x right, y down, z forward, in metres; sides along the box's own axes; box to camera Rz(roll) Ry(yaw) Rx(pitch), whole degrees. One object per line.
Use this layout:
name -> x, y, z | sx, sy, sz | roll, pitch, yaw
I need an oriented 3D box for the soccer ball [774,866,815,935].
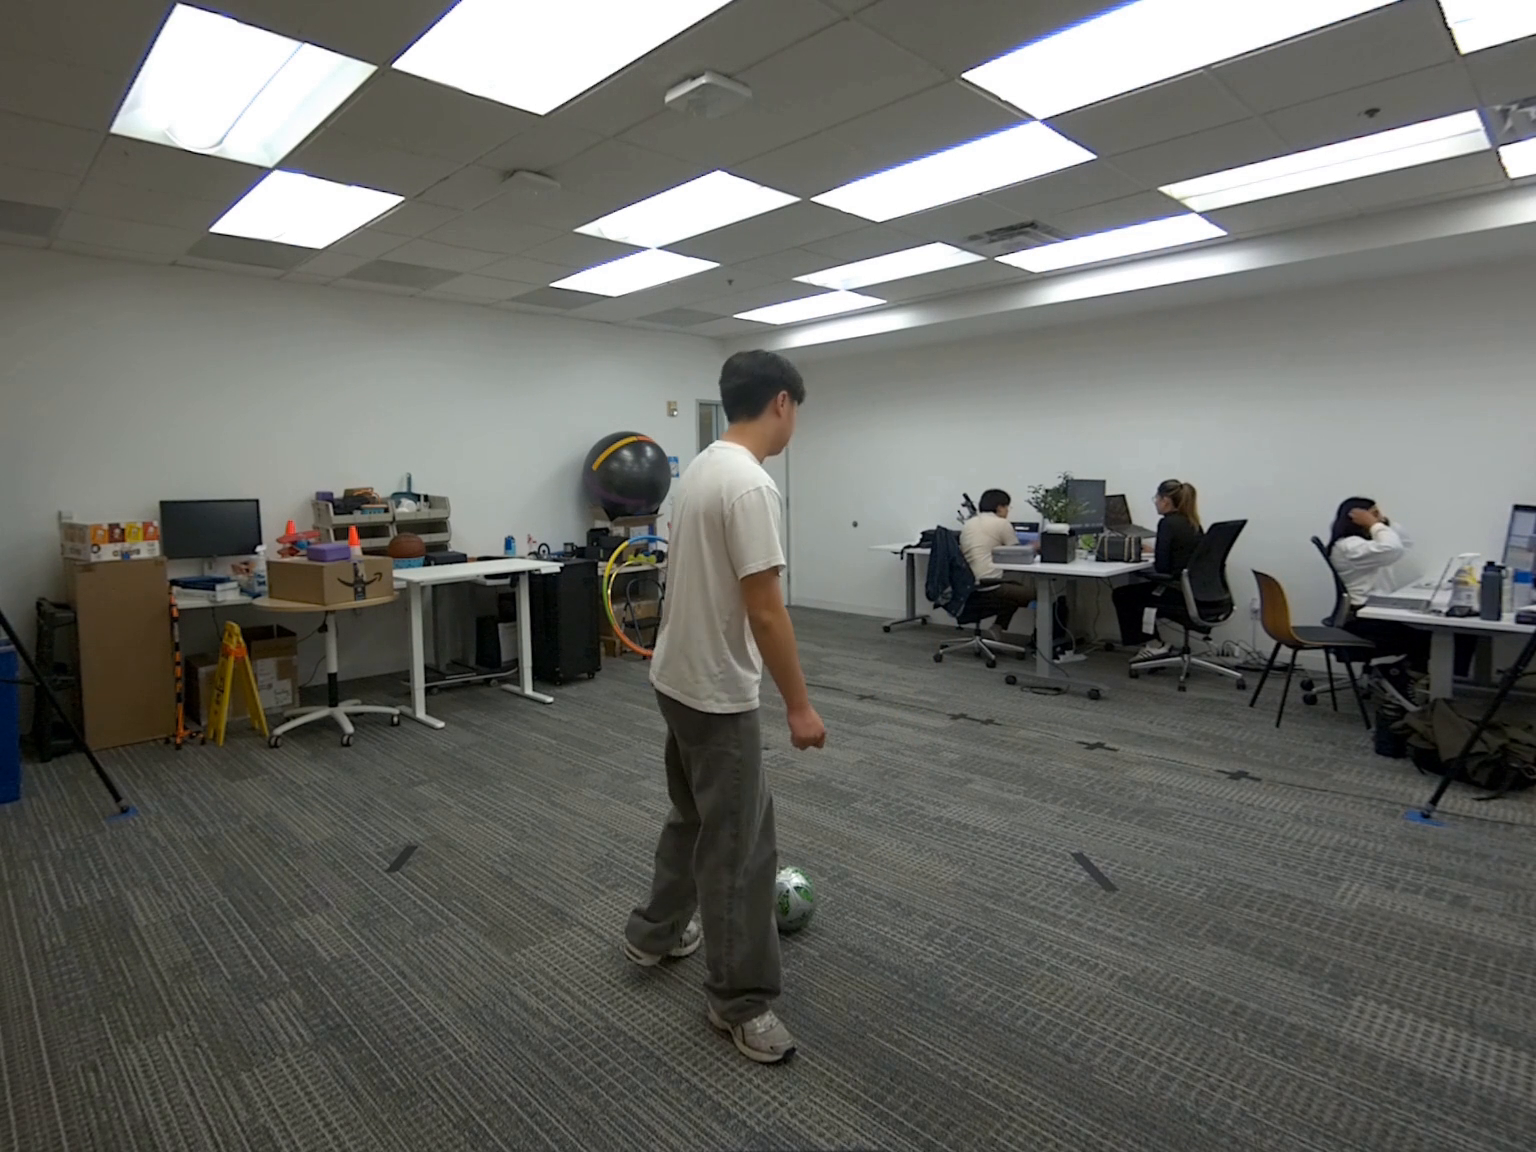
soccer ball -> 0.067, 1.003, 2.666 | 0.187, 0.187, 0.188 | -1, 5, -2
